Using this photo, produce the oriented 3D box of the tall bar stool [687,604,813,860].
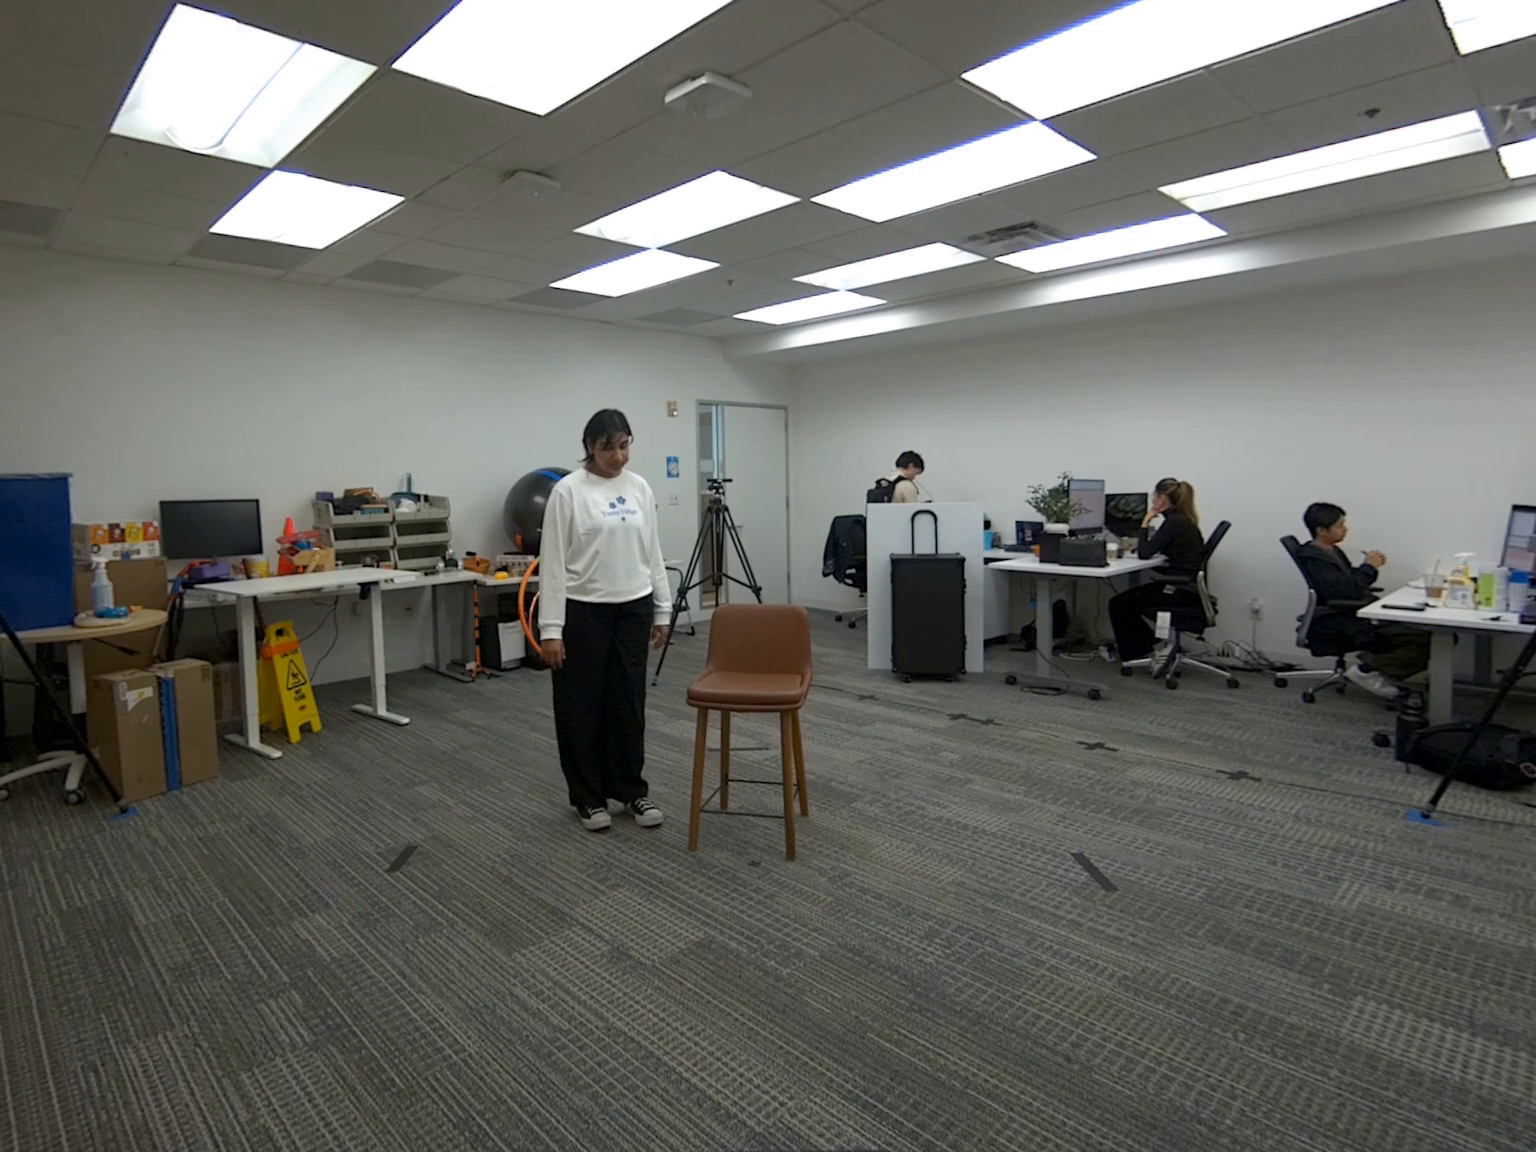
[{"bbox_3d":[-0.065,0.581,3.366,0.463,0.888,0.462,0,2,14],"label":"tall bar stool"}]
